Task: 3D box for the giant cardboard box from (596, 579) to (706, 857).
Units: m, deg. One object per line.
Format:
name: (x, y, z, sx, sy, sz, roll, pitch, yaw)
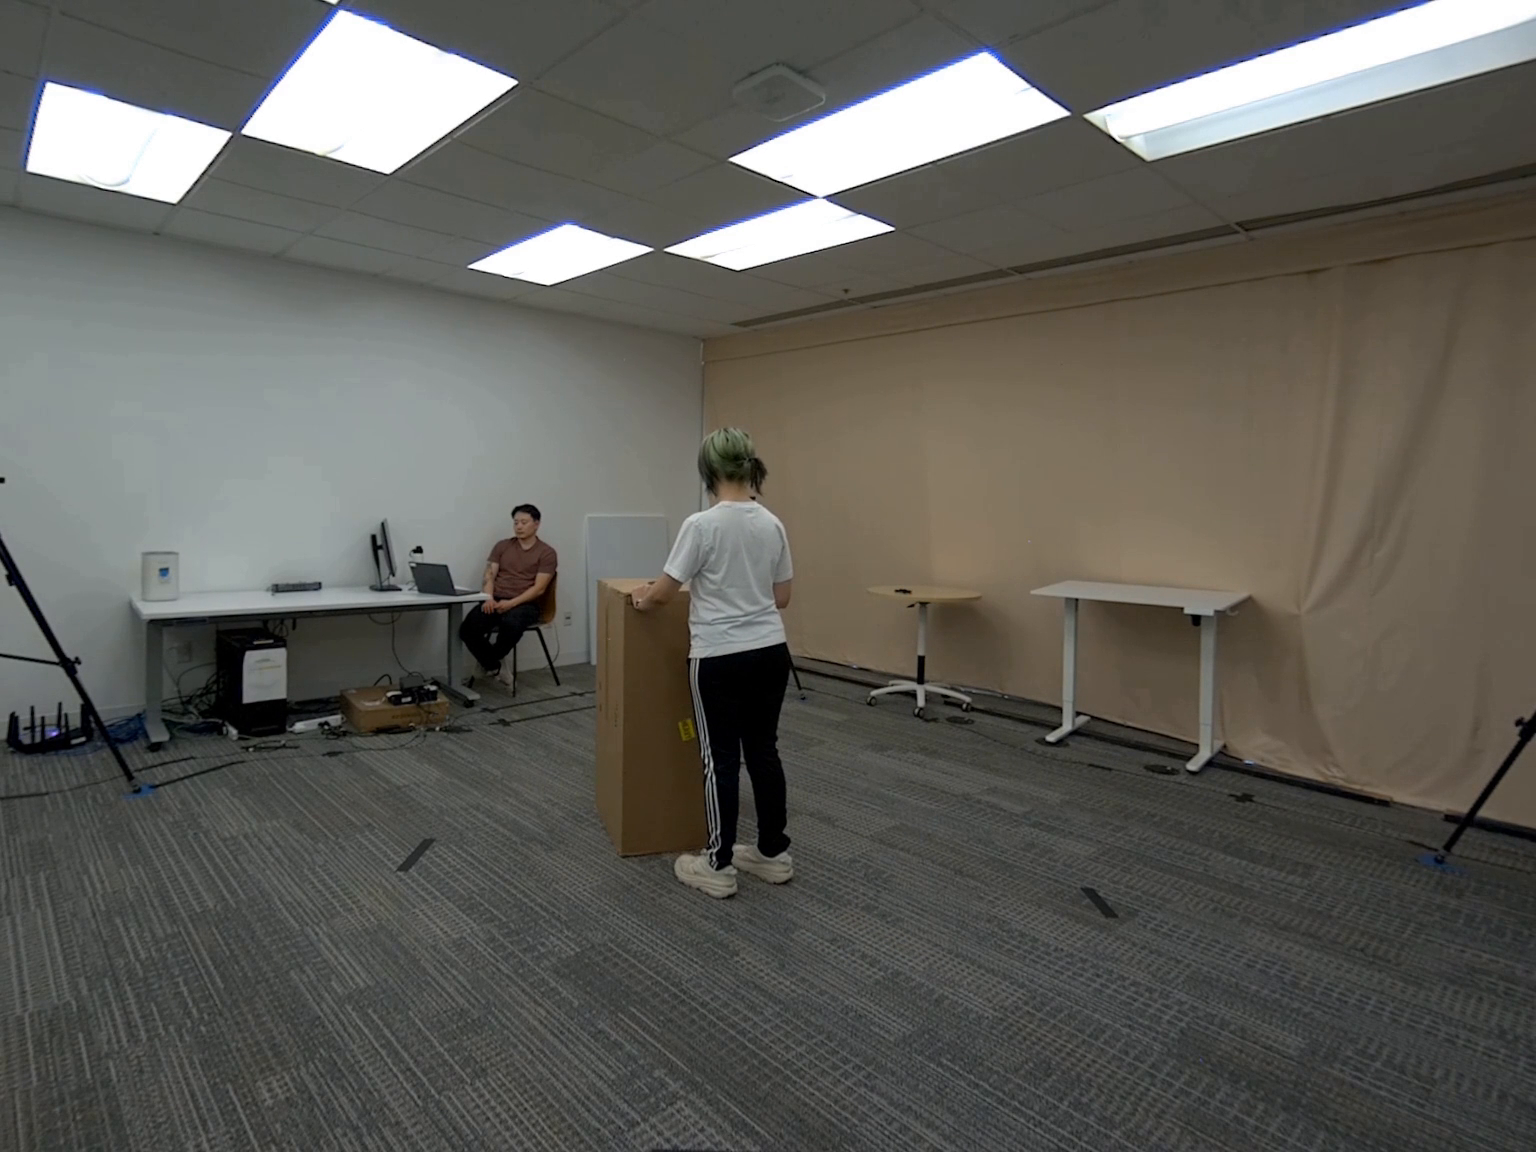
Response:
giant cardboard box: (-0.474, 0.548, 3.551, 0.439, 1.025, 0.595, 0, 3, -23)
